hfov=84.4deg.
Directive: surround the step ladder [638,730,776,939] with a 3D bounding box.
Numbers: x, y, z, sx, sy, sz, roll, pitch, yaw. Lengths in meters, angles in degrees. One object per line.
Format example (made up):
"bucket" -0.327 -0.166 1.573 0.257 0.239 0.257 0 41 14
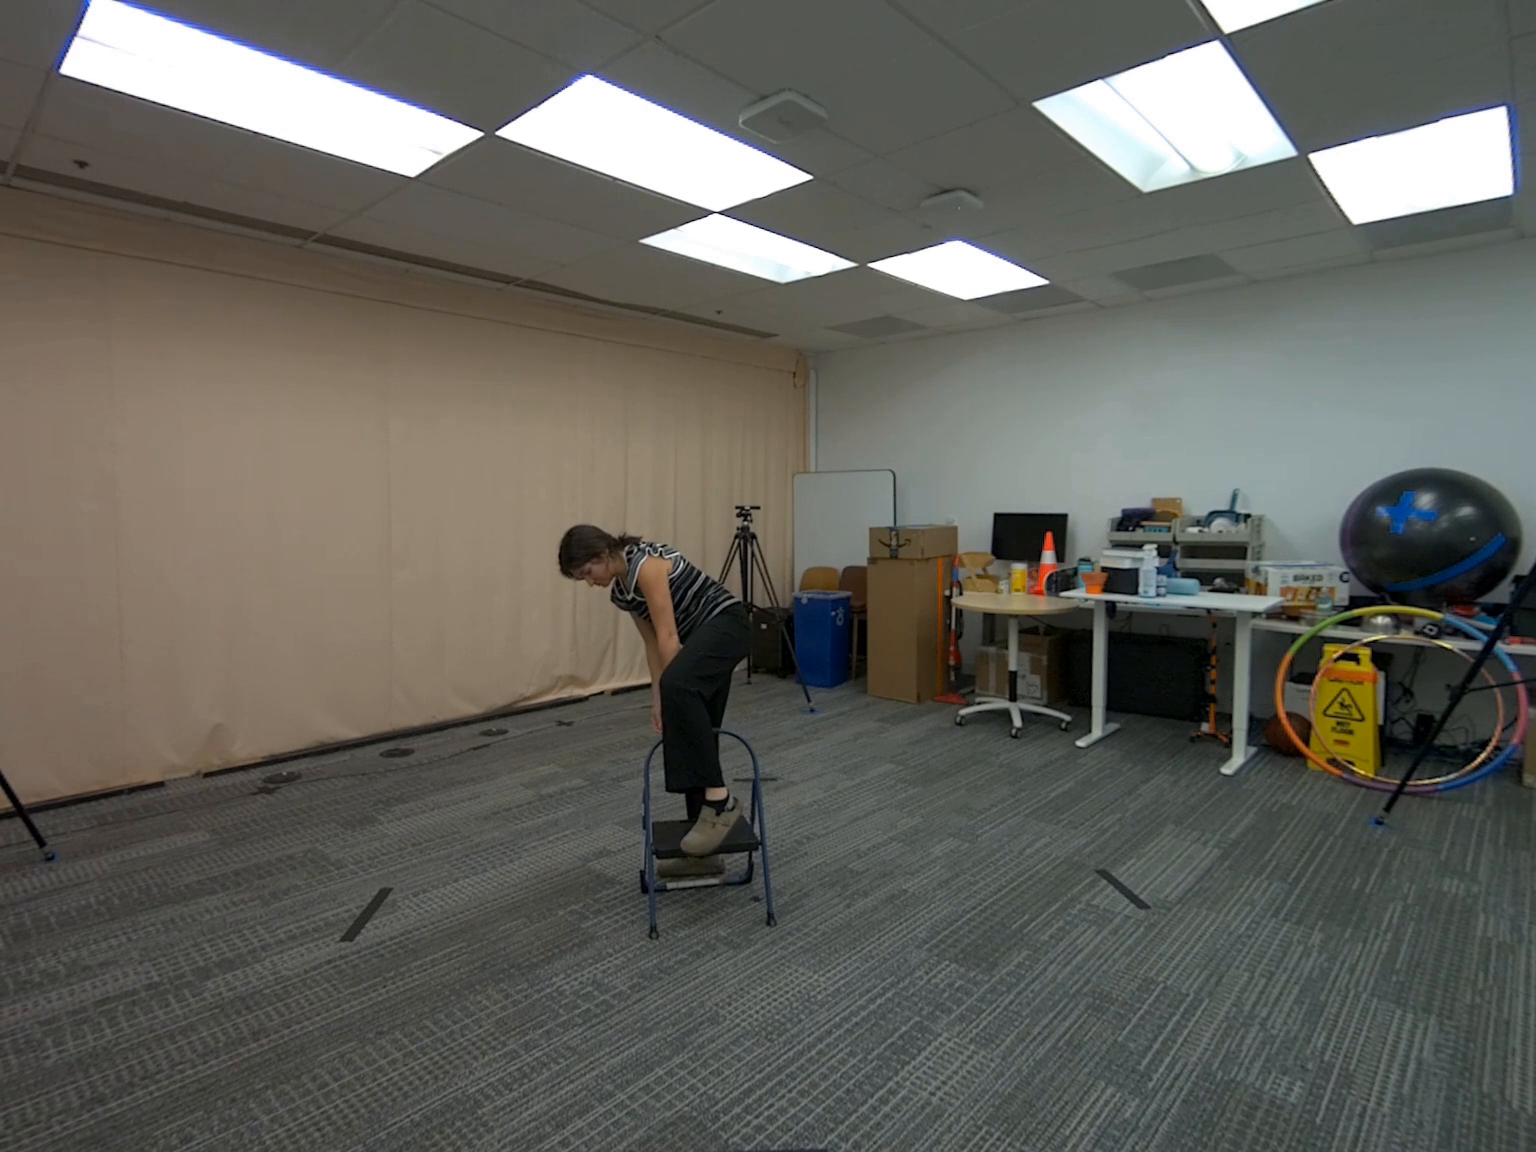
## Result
"step ladder" -0.218 0.851 2.908 0.425 0.605 0.355 -1 3 -13
